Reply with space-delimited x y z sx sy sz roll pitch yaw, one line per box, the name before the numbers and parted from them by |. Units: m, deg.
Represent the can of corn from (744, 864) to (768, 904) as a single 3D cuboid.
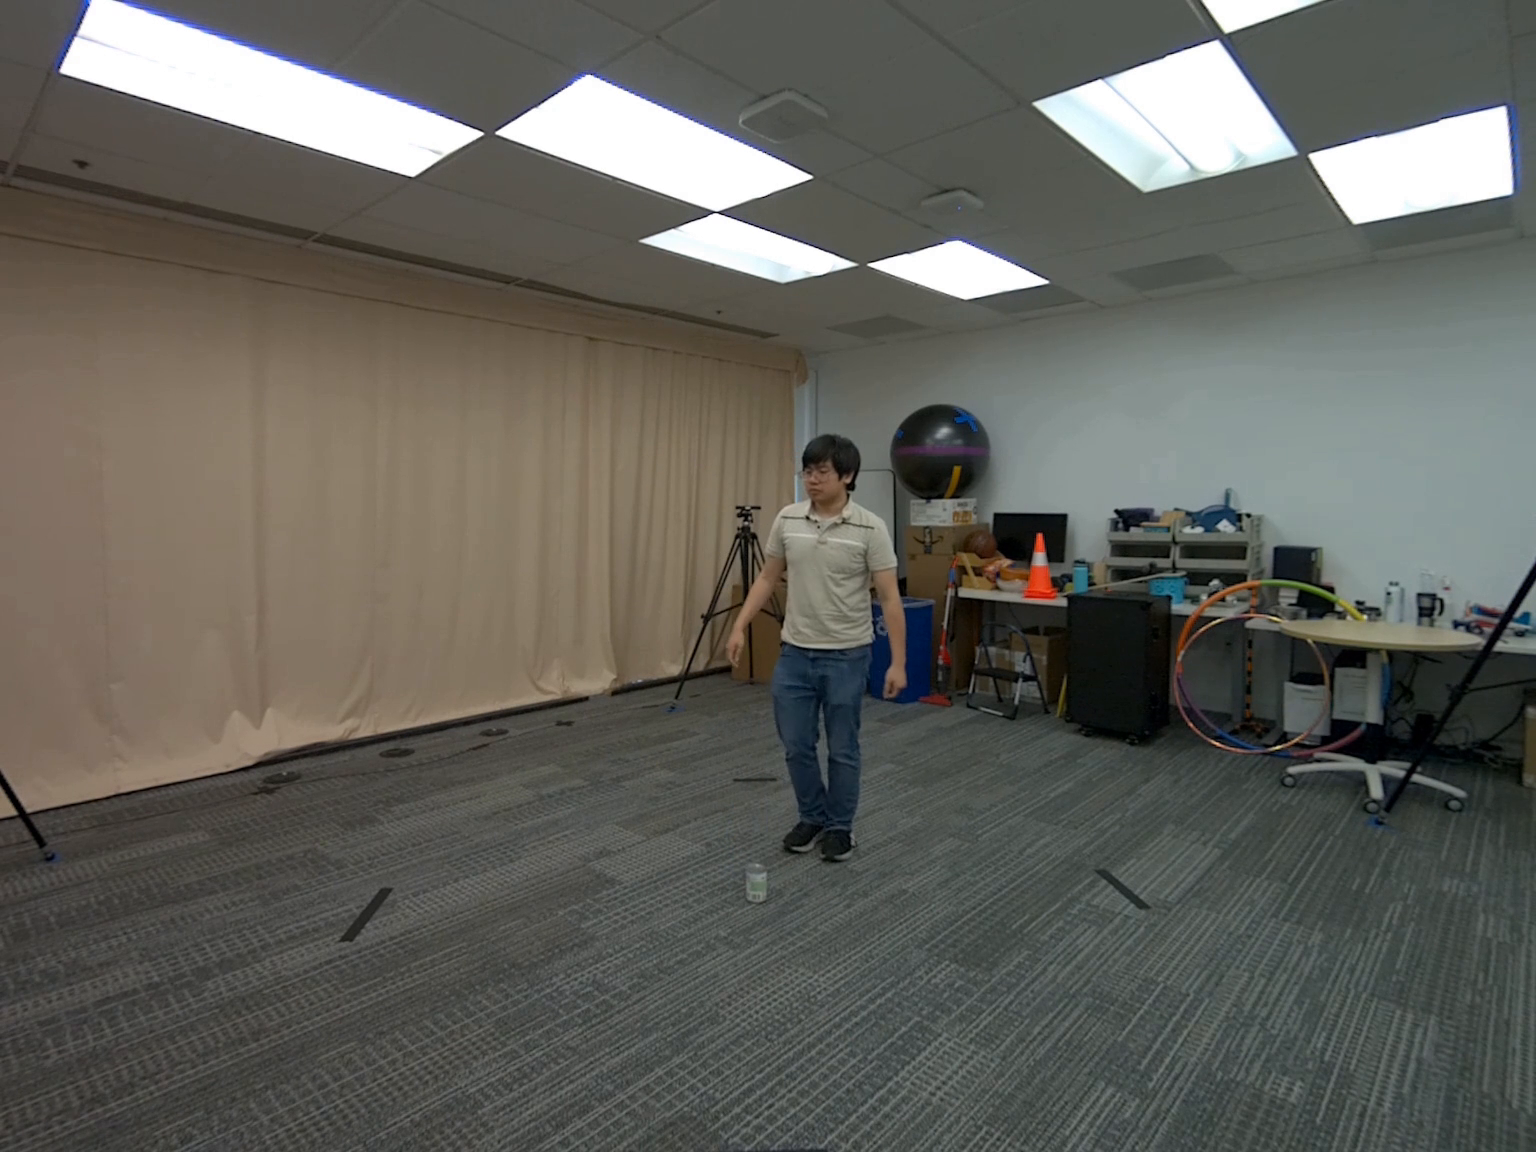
can of corn | -0.040 1.093 2.973 0.074 0.110 0.075 -1 8 -2
